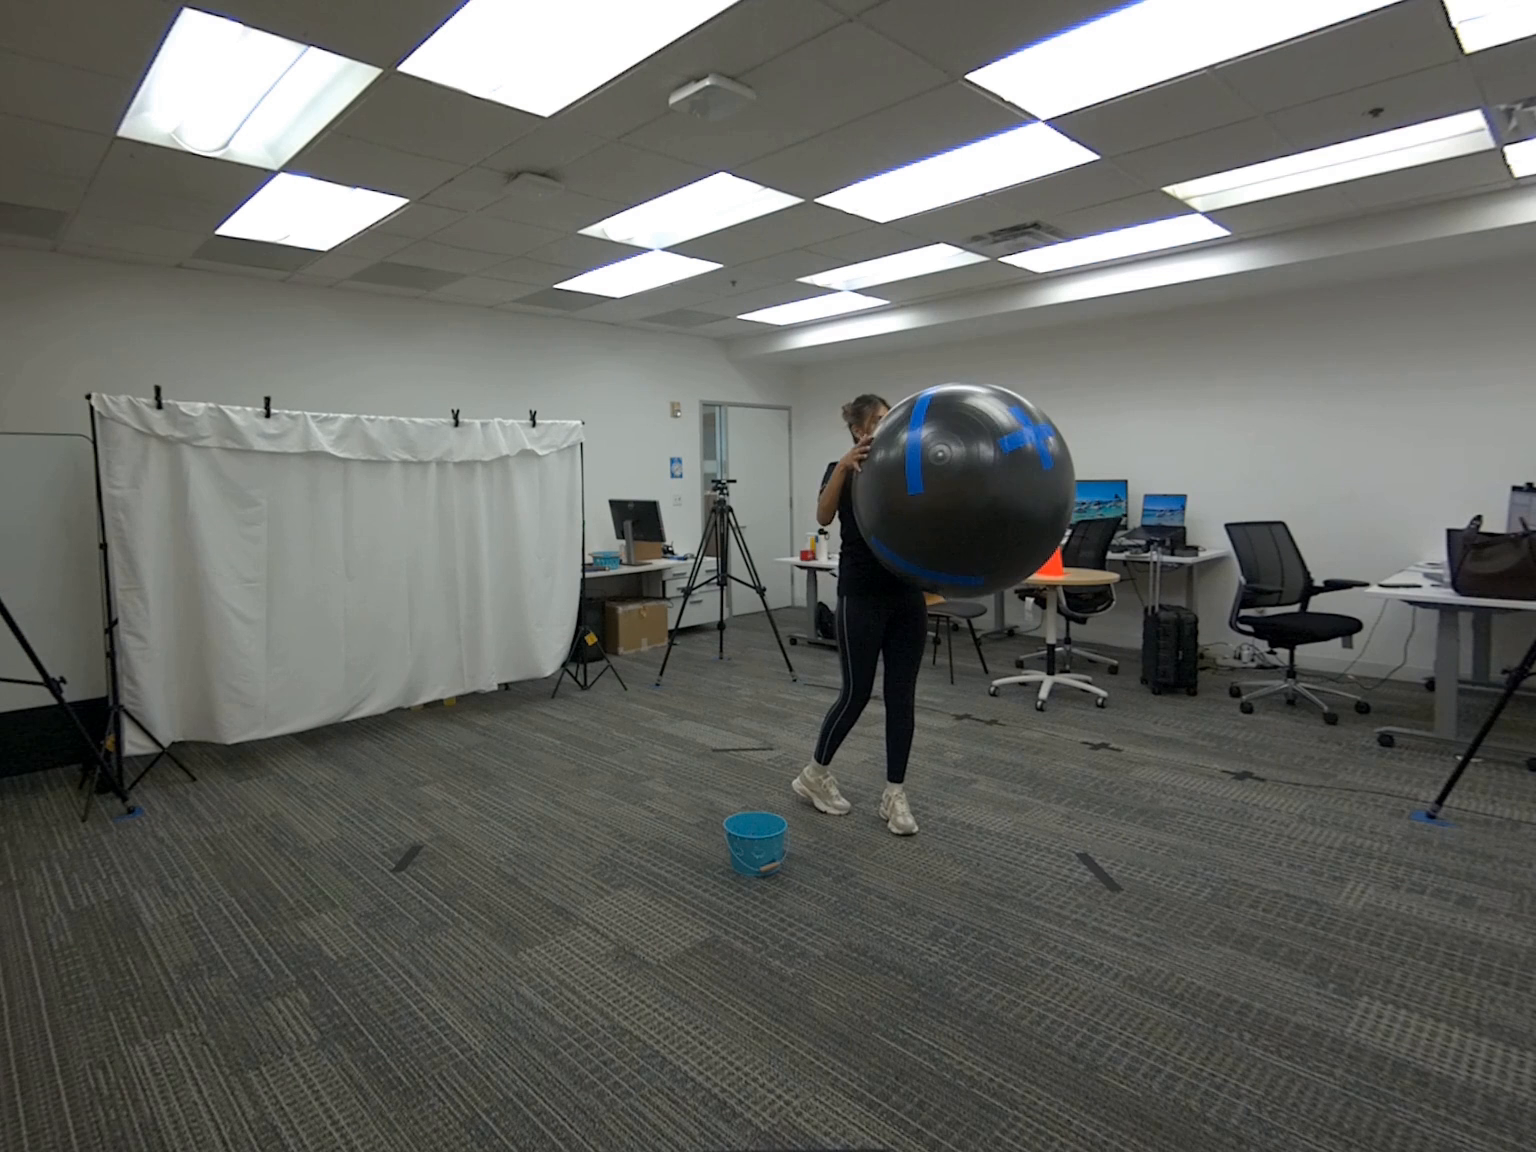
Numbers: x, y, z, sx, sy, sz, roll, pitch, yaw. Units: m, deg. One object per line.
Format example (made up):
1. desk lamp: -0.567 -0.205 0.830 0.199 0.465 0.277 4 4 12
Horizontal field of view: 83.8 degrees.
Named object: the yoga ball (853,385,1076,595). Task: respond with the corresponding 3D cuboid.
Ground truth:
1. yoga ball: 0.686 -0.296 3.010 0.757 0.755 0.762 -1 5 -2
